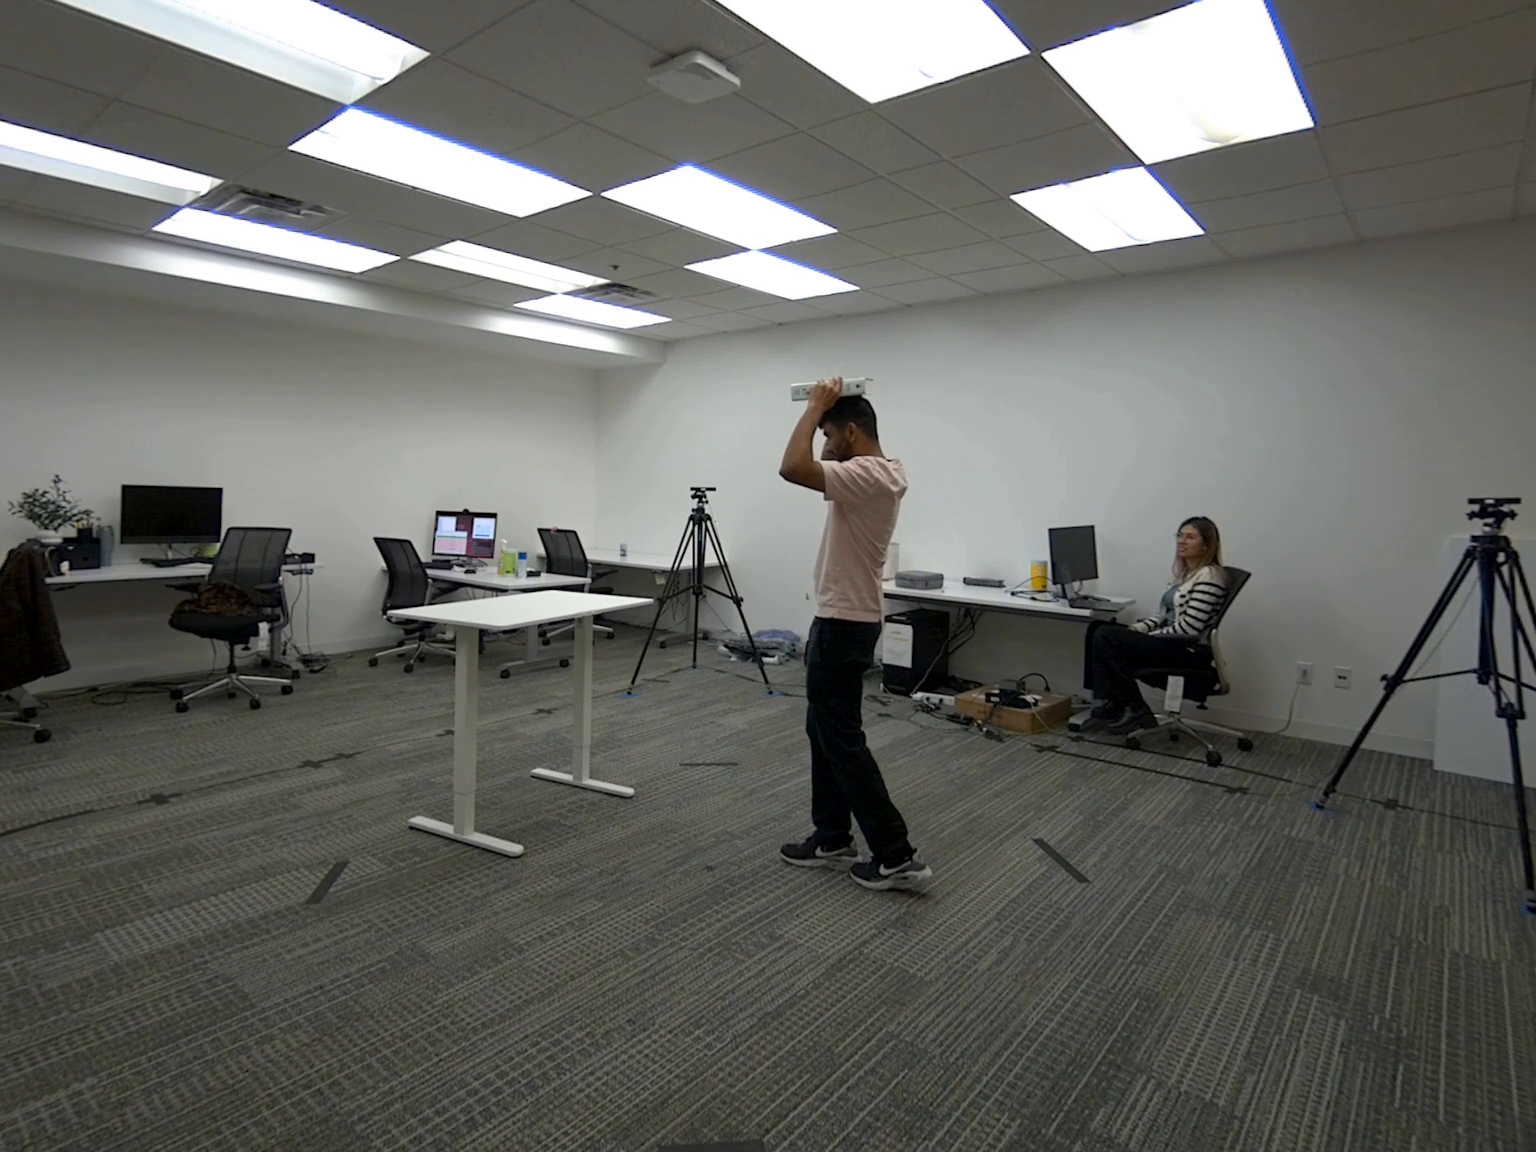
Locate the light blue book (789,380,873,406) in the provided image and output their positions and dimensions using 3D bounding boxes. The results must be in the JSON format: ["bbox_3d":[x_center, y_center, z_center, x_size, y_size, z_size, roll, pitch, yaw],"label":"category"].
[{"bbox_3d":[0.227,-0.656,3.014,0.266,0.058,0.189,-2,10,18],"label":"light blue book"}]
